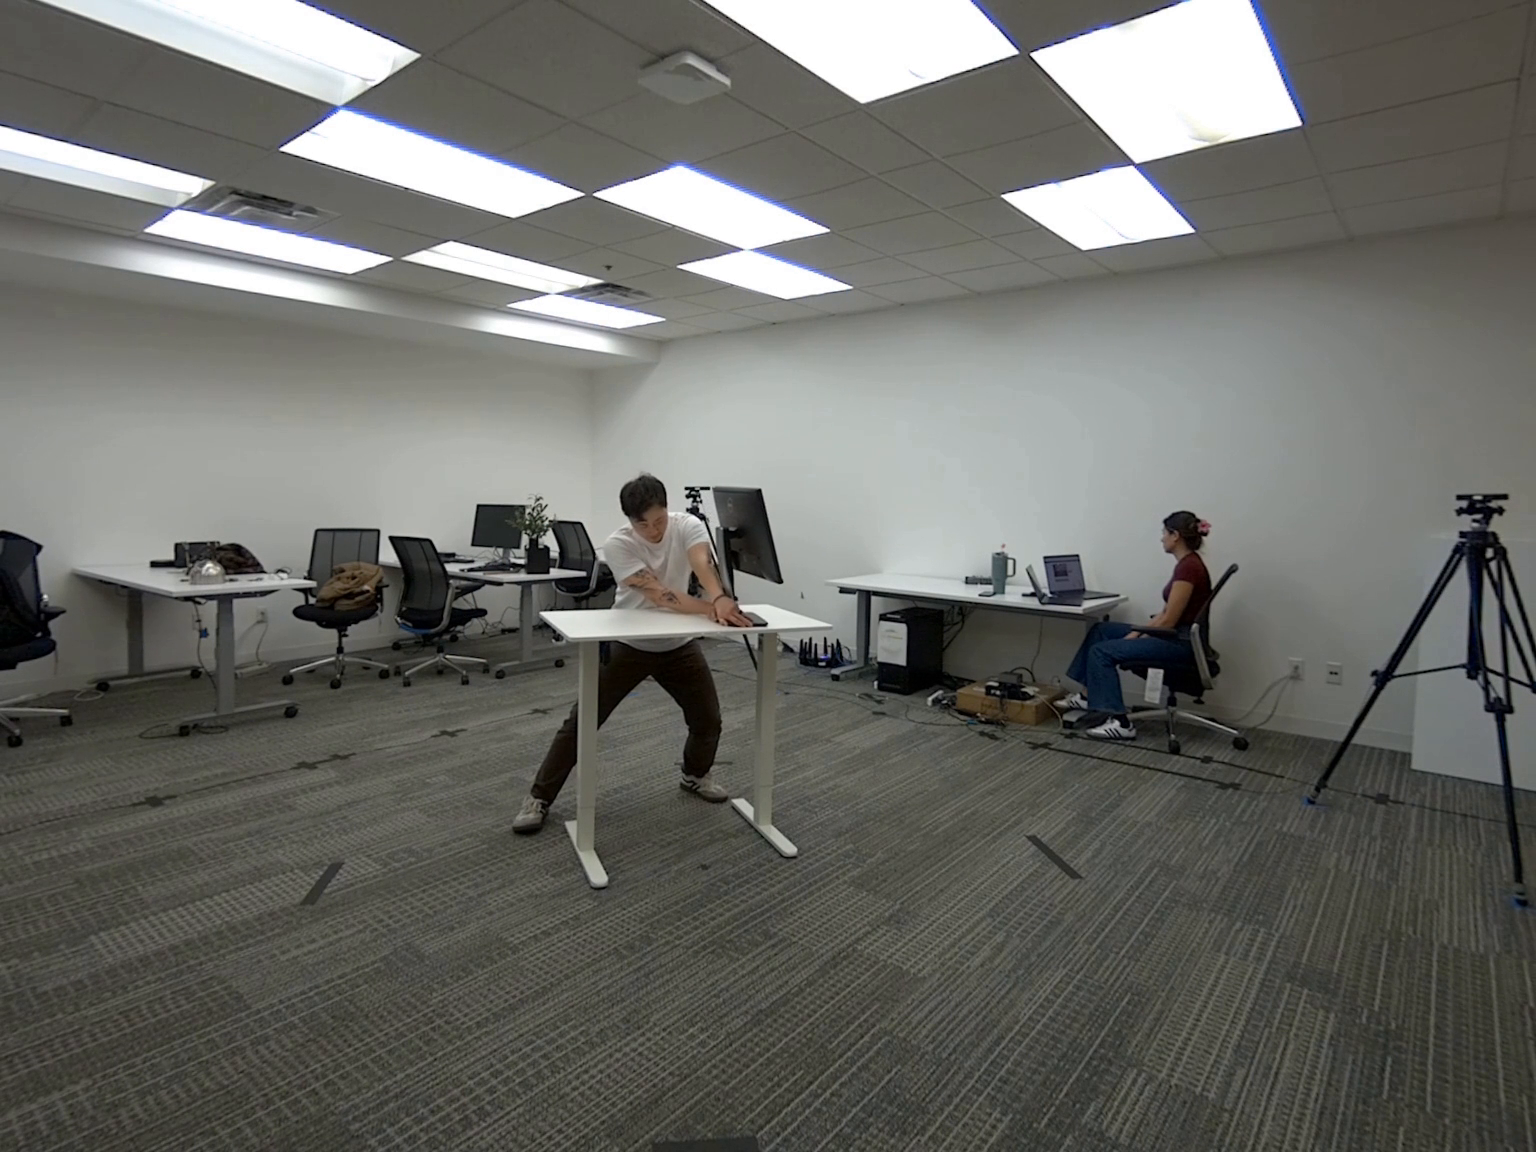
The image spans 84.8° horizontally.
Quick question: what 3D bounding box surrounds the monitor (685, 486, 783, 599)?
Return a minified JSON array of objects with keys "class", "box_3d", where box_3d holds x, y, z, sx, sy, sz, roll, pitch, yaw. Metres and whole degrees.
[{"class":"monitor","box_3d":[-0.129,-0.084,3.257,0.183,0.520,0.553,-2,5,-23]}]
